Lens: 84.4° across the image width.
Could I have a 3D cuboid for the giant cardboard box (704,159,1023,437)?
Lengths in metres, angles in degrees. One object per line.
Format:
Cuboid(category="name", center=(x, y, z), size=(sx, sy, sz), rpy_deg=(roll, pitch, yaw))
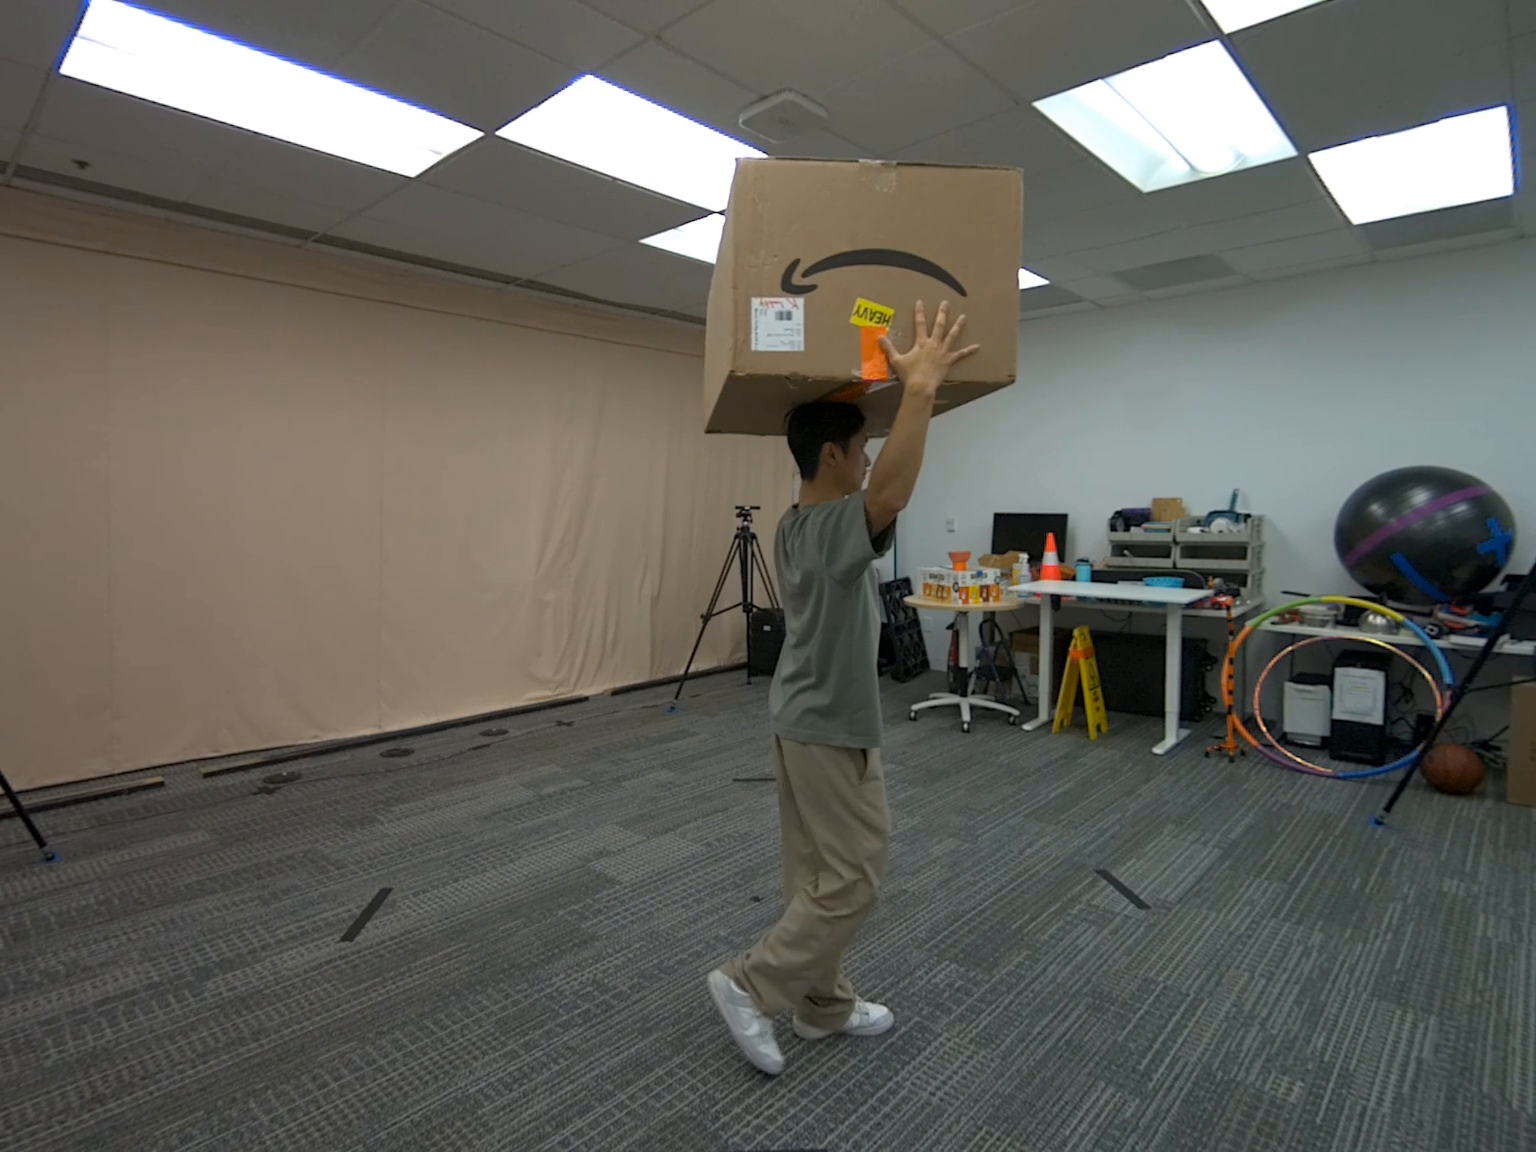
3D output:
Cuboid(category="giant cardboard box", center=(0.152, -0.624, 2.143), size=(0.575, 0.426, 1.031), rpy_deg=(1, 2, -5))
